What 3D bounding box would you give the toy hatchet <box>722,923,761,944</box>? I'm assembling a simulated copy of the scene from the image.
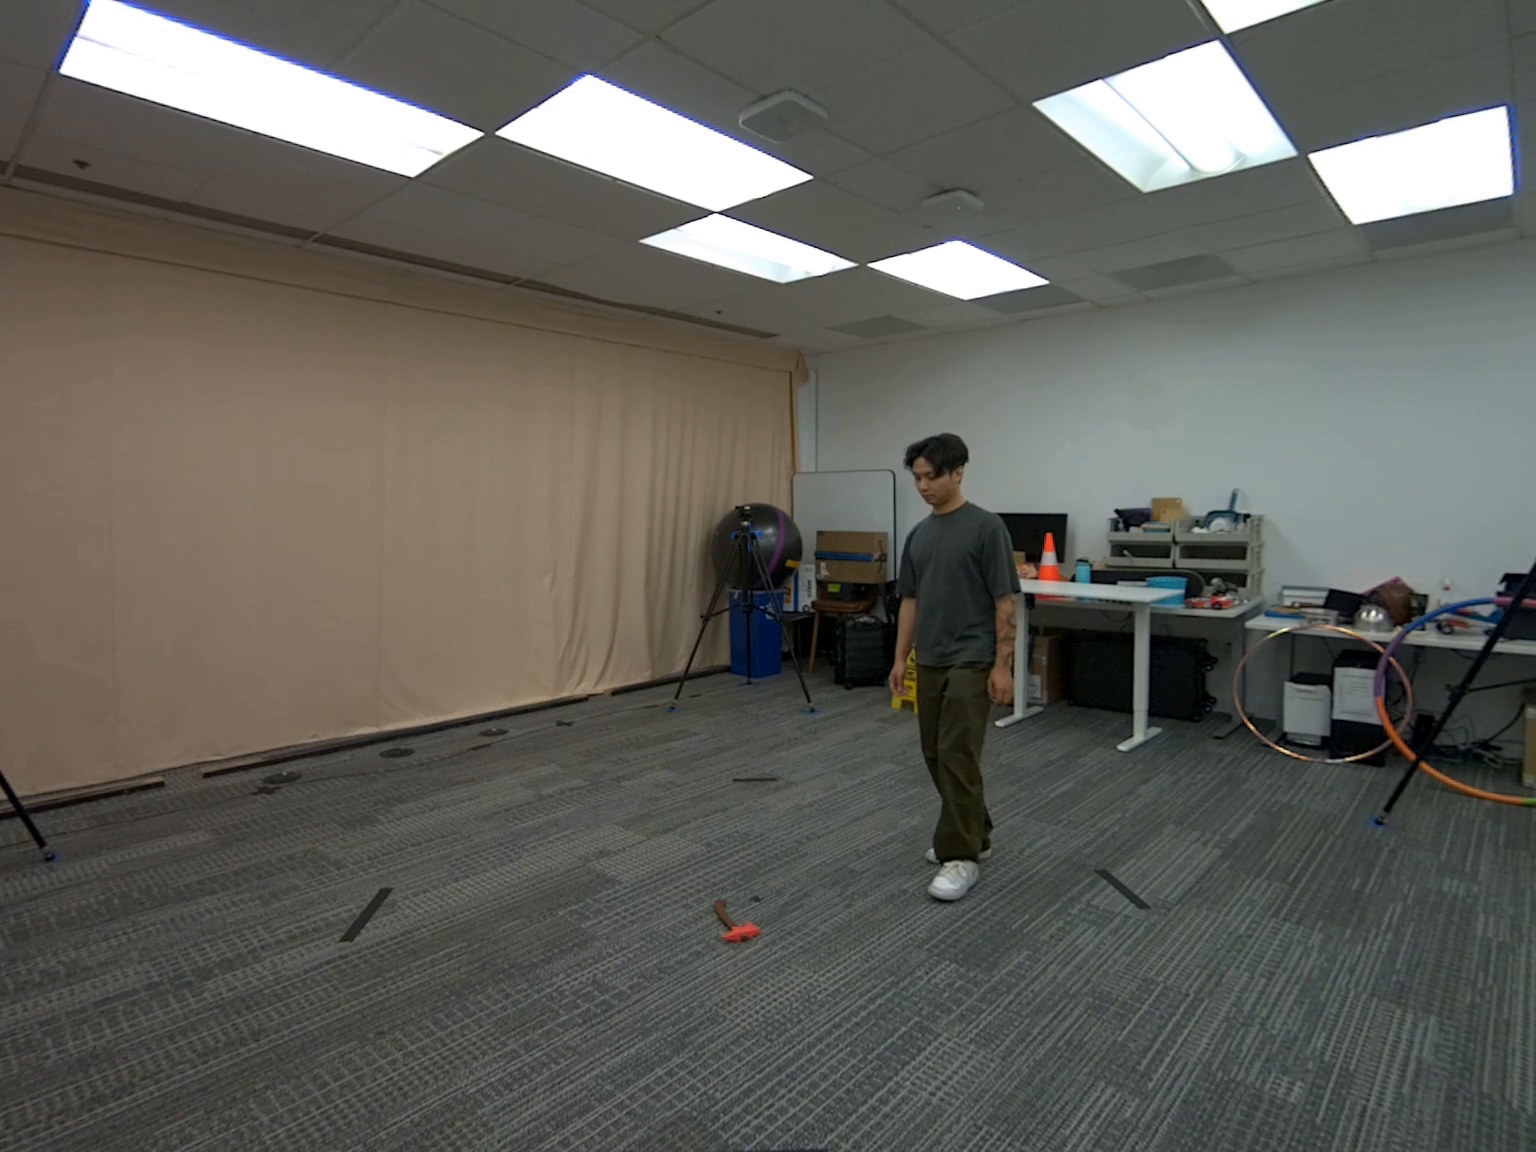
[{"bbox_3d":[-0.100,1.147,2.815,0.130,0.029,0.273,-2,4,-9],"label":"toy hatchet"}]
